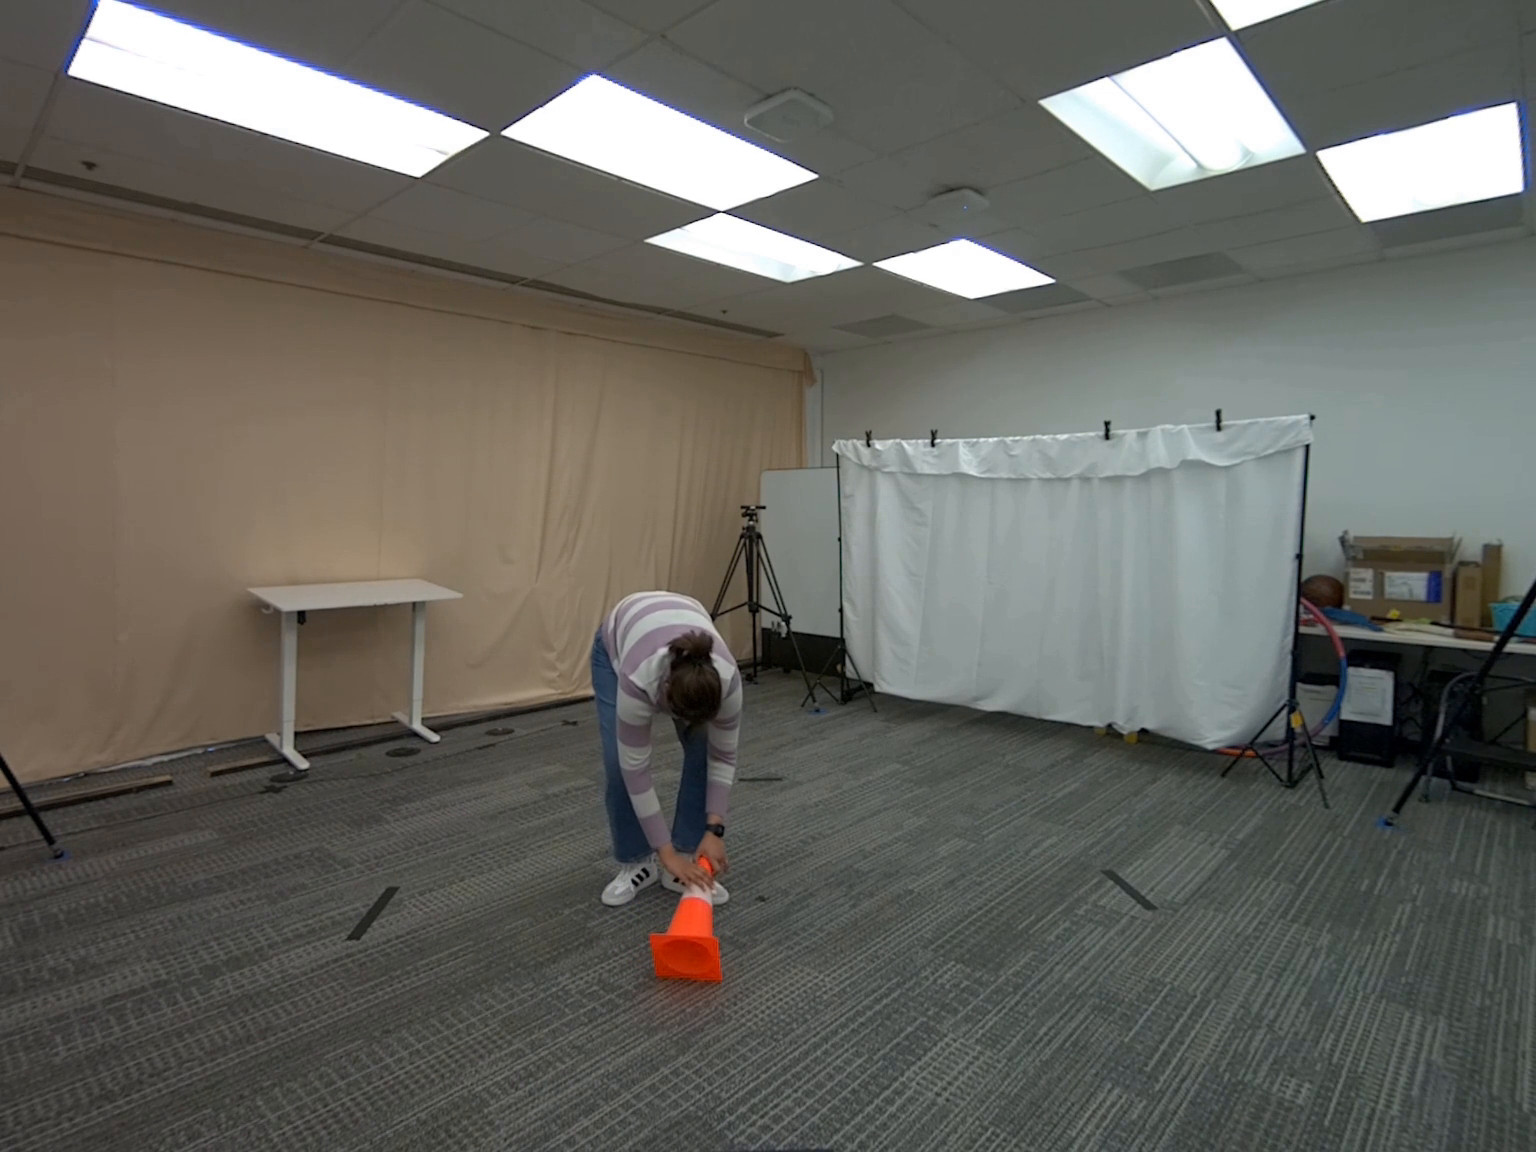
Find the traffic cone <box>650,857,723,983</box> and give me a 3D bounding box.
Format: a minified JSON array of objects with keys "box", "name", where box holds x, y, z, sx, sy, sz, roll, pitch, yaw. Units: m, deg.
[{"box":[-0.225,1.002,2.595,0.205,0.201,0.388,0,31,5],"name":"traffic cone"}]
